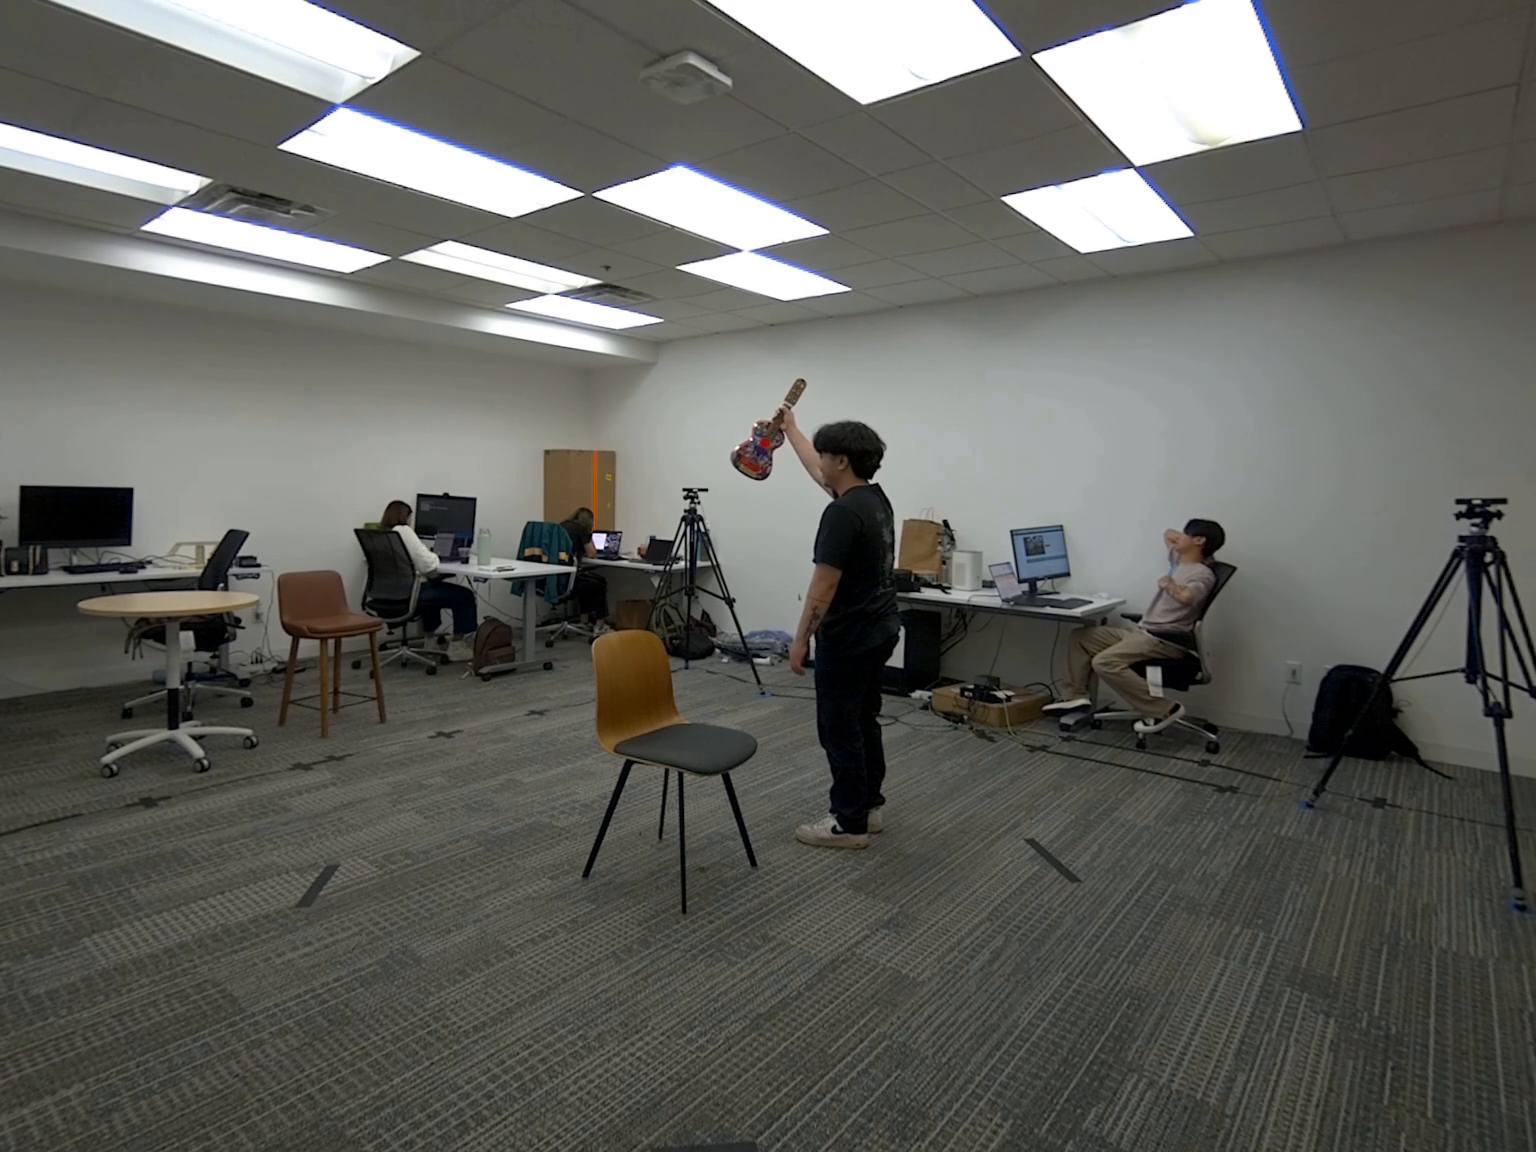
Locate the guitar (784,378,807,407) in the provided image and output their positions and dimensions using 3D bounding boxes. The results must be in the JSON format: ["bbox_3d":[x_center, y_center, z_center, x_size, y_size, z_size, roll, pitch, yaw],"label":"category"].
[{"bbox_3d":[0.032,-0.654,3.837,0.190,0.497,0.072,38,8,-12],"label":"guitar"}]
